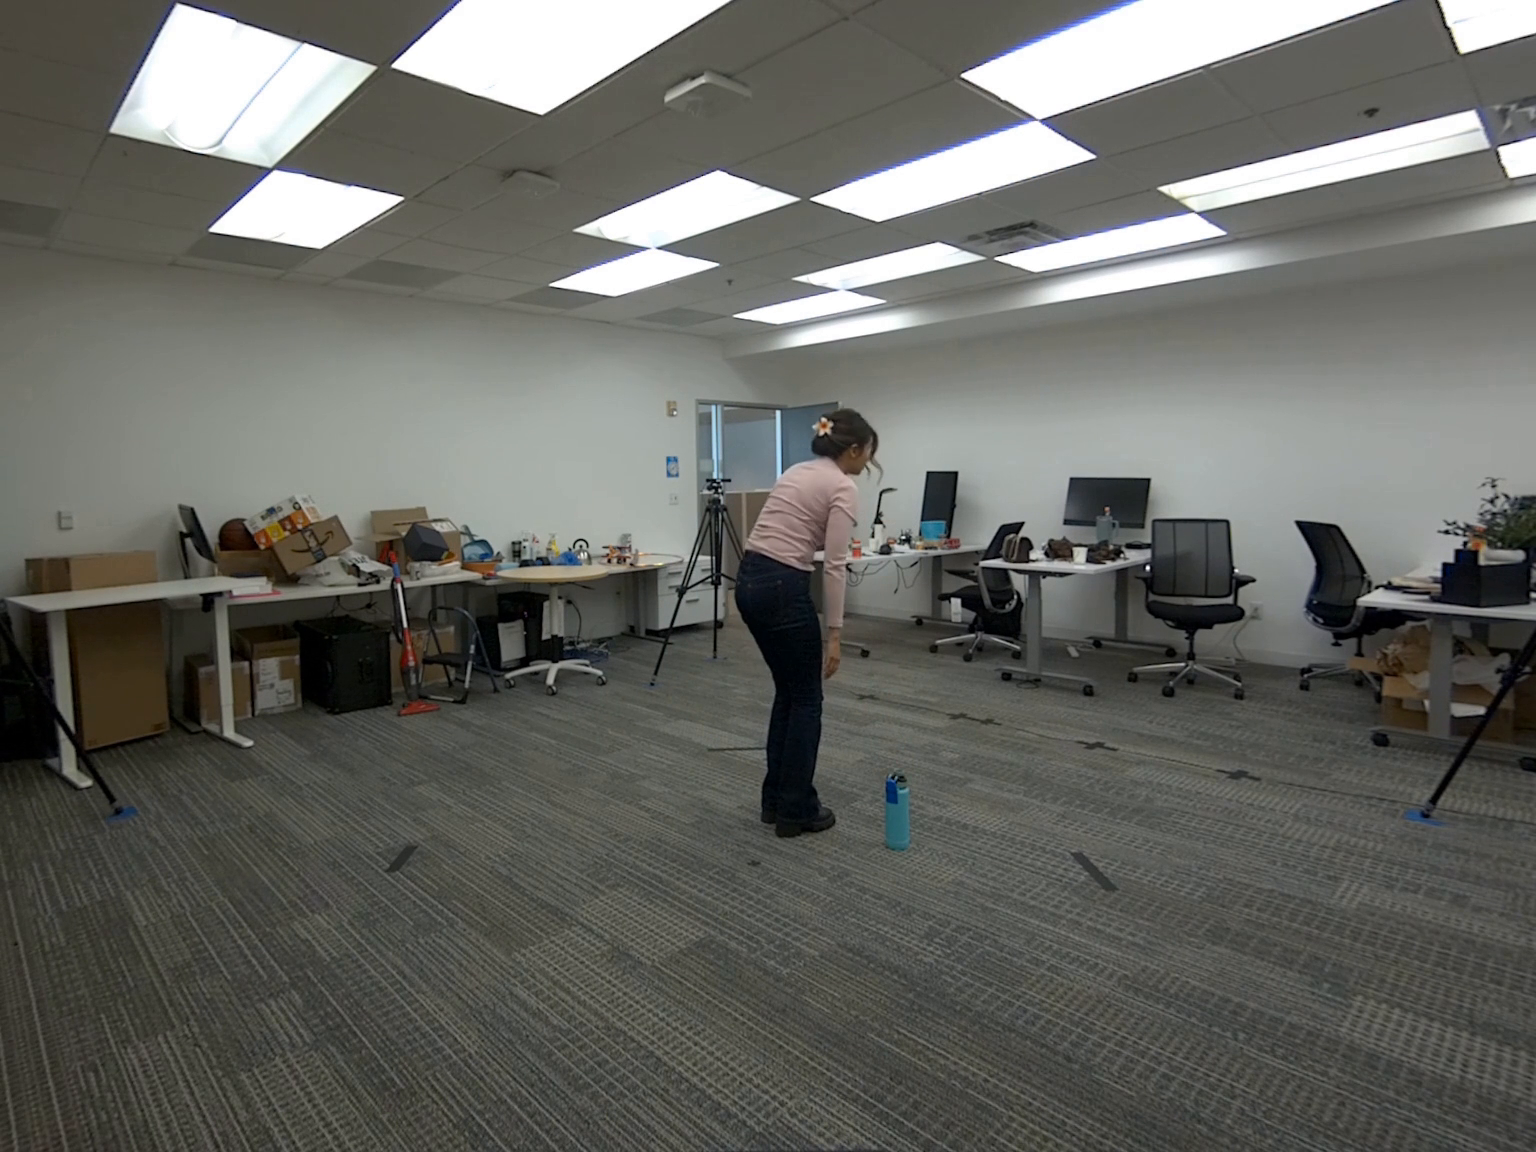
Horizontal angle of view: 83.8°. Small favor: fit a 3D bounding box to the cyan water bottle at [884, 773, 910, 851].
[{"bbox_3d":[0.494,0.883,3.228,0.092,0.282,0.093,-1,4,-2],"label":"cyan water bottle"}]
